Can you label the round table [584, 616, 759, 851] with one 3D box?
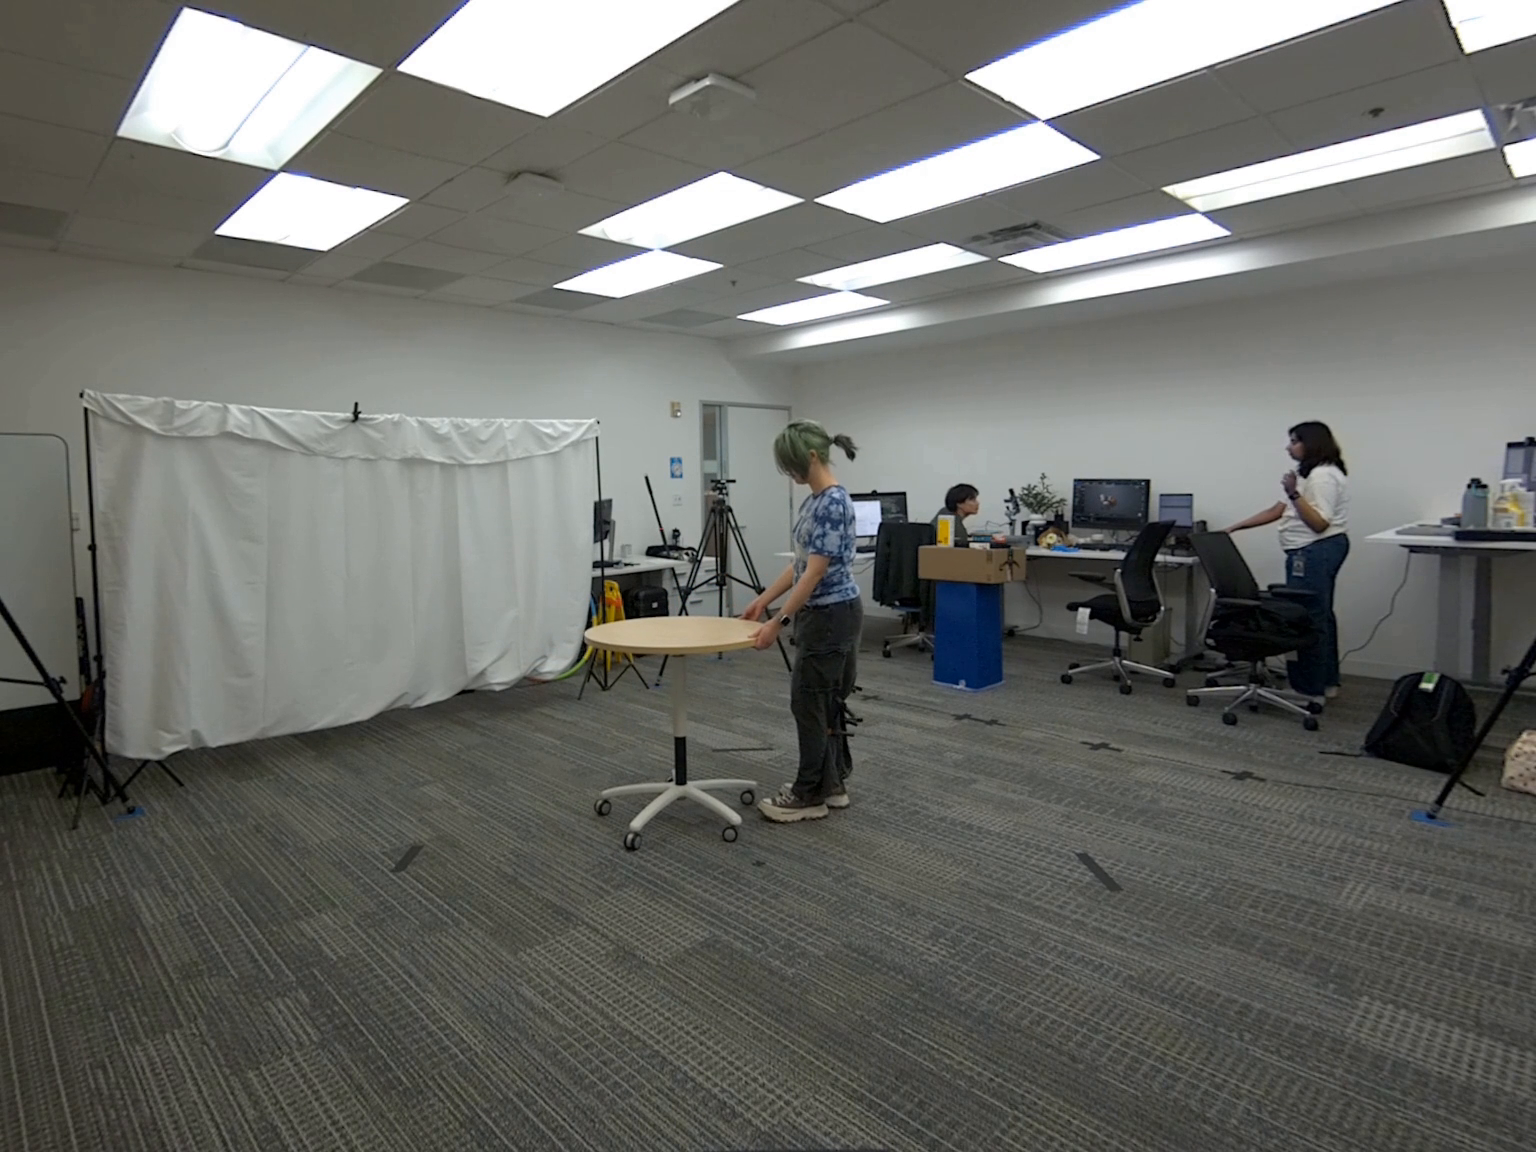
[{"bbox_3d":[-0.367,0.617,3.525,0.763,0.791,0.767,-1,4,-2],"label":"round table"}]
